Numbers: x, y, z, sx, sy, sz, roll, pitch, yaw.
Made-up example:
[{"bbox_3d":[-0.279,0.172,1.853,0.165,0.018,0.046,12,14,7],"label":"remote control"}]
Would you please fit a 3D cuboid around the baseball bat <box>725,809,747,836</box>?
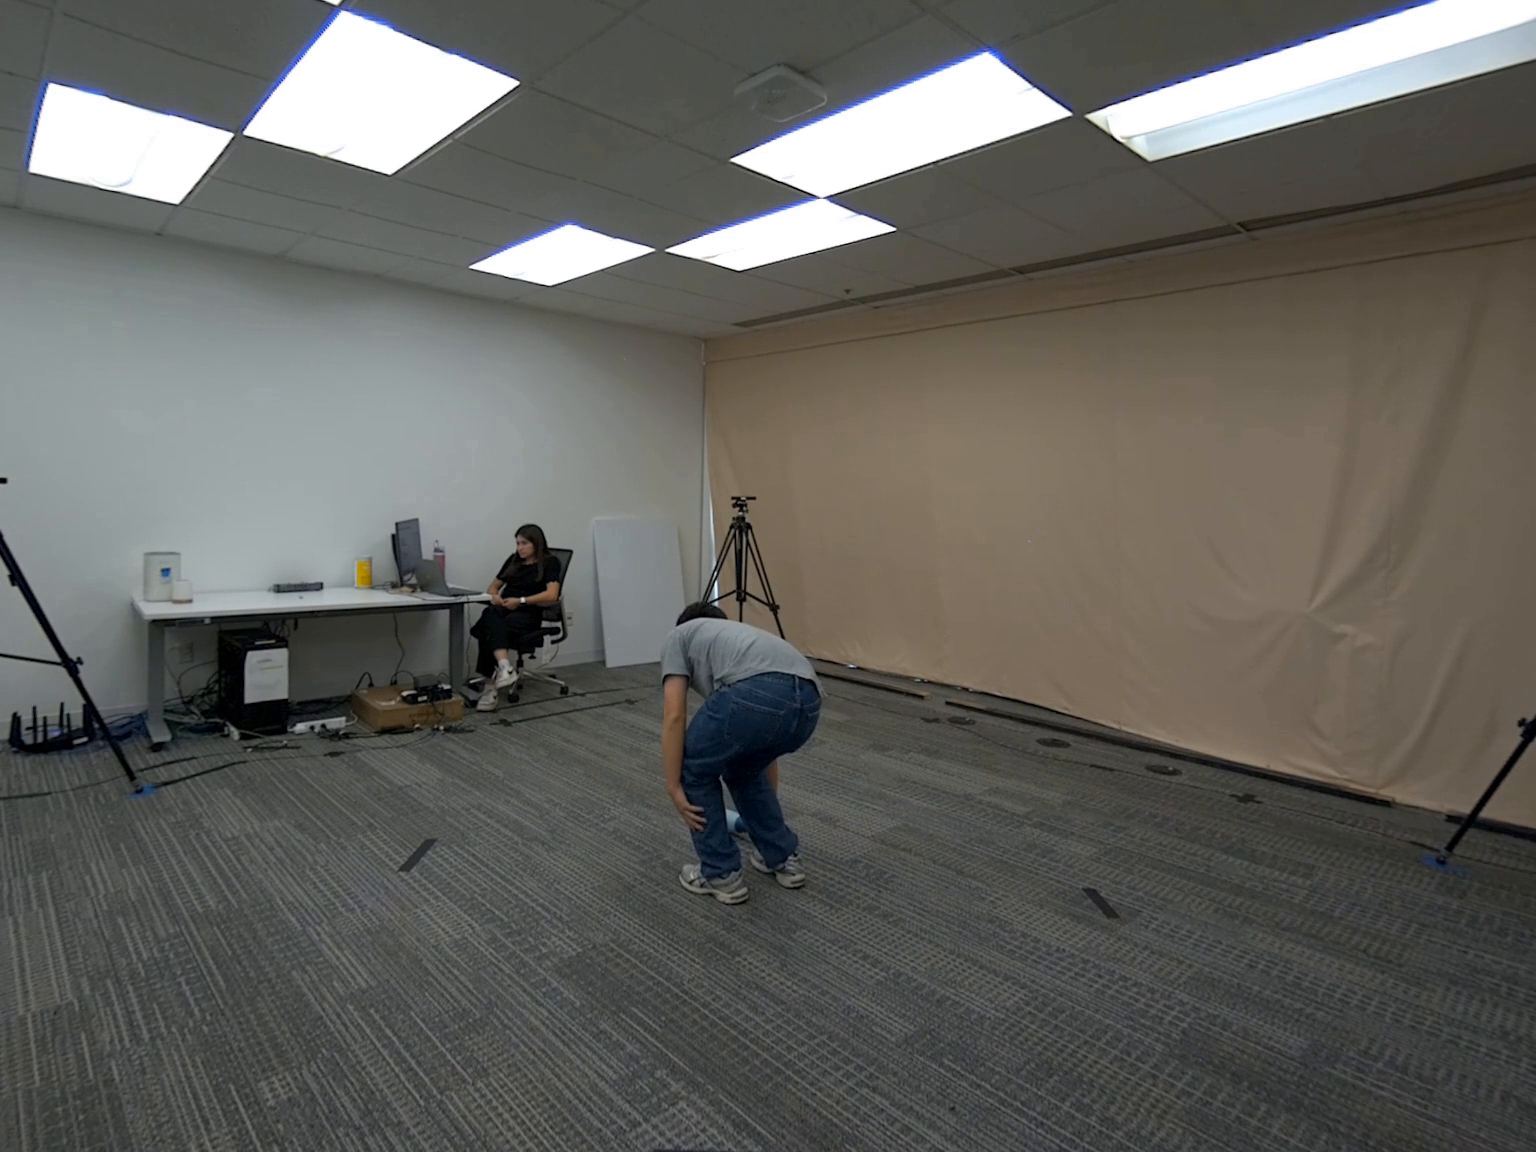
[{"bbox_3d":[-0.103,1.018,3.432,0.556,0.089,0.087,1,2,44],"label":"baseball bat"}]
